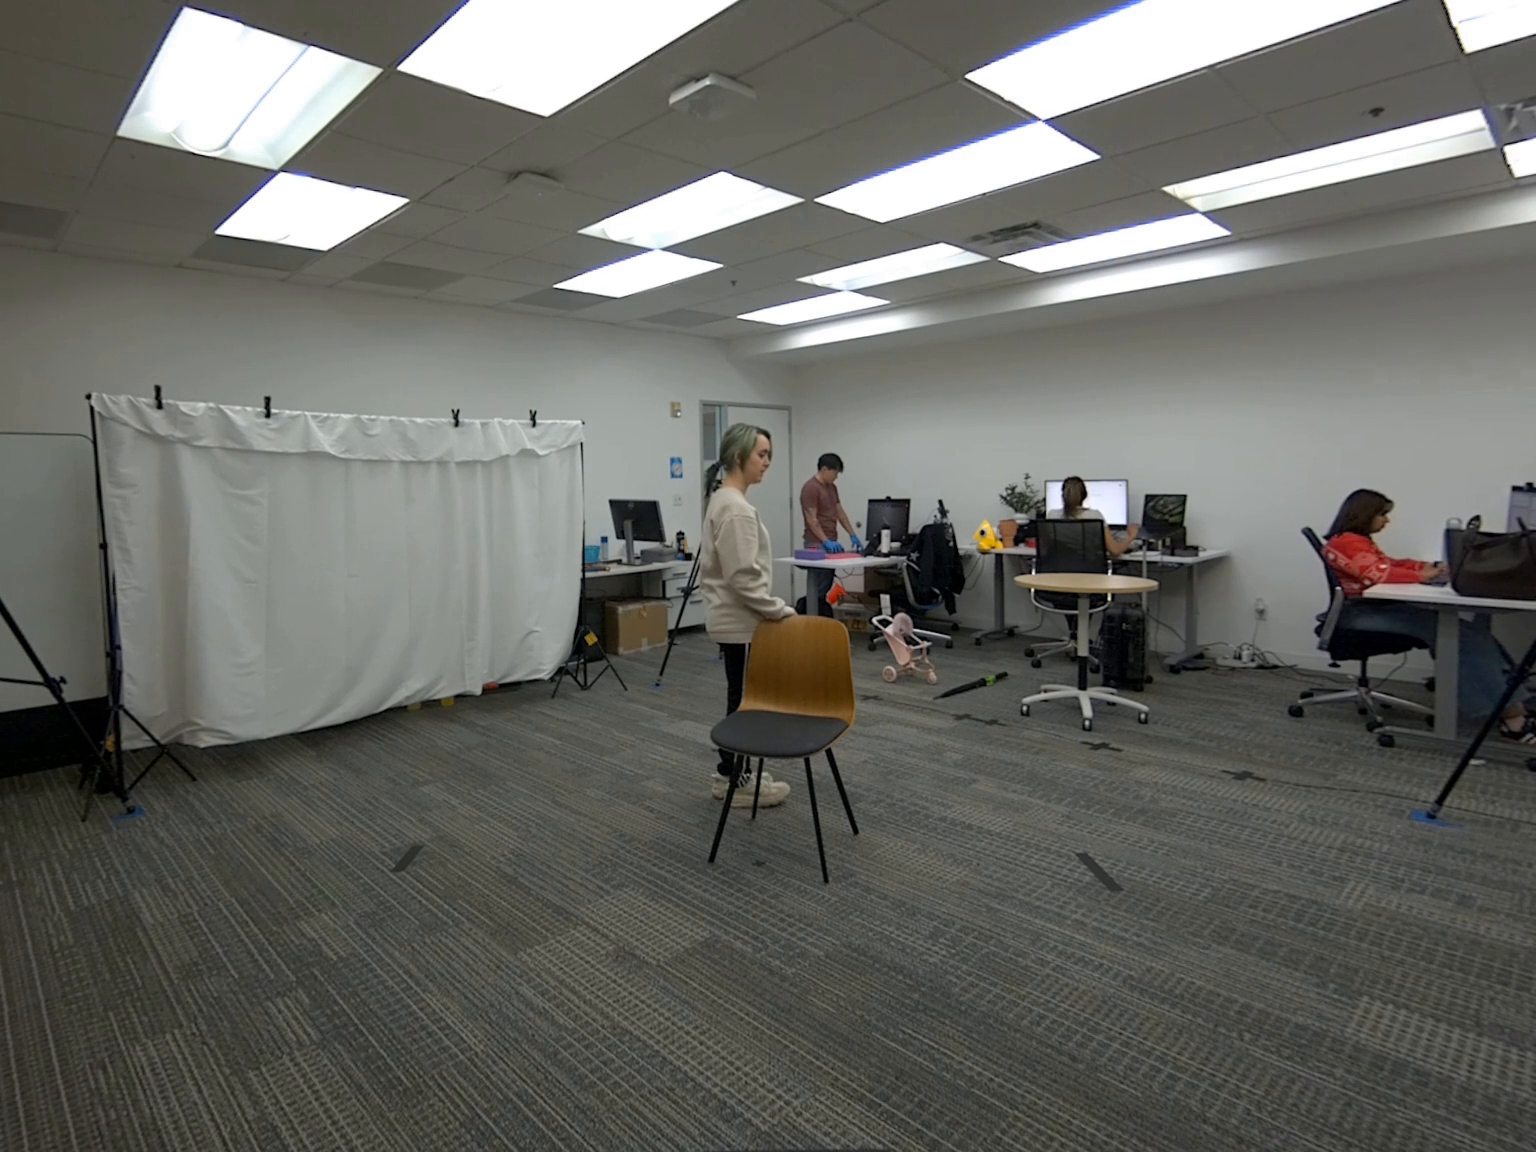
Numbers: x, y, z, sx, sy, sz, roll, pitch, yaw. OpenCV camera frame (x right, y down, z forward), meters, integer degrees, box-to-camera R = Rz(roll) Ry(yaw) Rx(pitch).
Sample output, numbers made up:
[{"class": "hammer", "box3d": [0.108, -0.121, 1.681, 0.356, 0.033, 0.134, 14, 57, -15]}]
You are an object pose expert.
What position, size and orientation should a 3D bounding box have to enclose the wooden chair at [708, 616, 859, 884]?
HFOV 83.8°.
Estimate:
[{"class": "wooden chair", "box3d": [0.064, 0.608, 3.192, 0.488, 0.877, 0.512, 1, 0, 22]}]
